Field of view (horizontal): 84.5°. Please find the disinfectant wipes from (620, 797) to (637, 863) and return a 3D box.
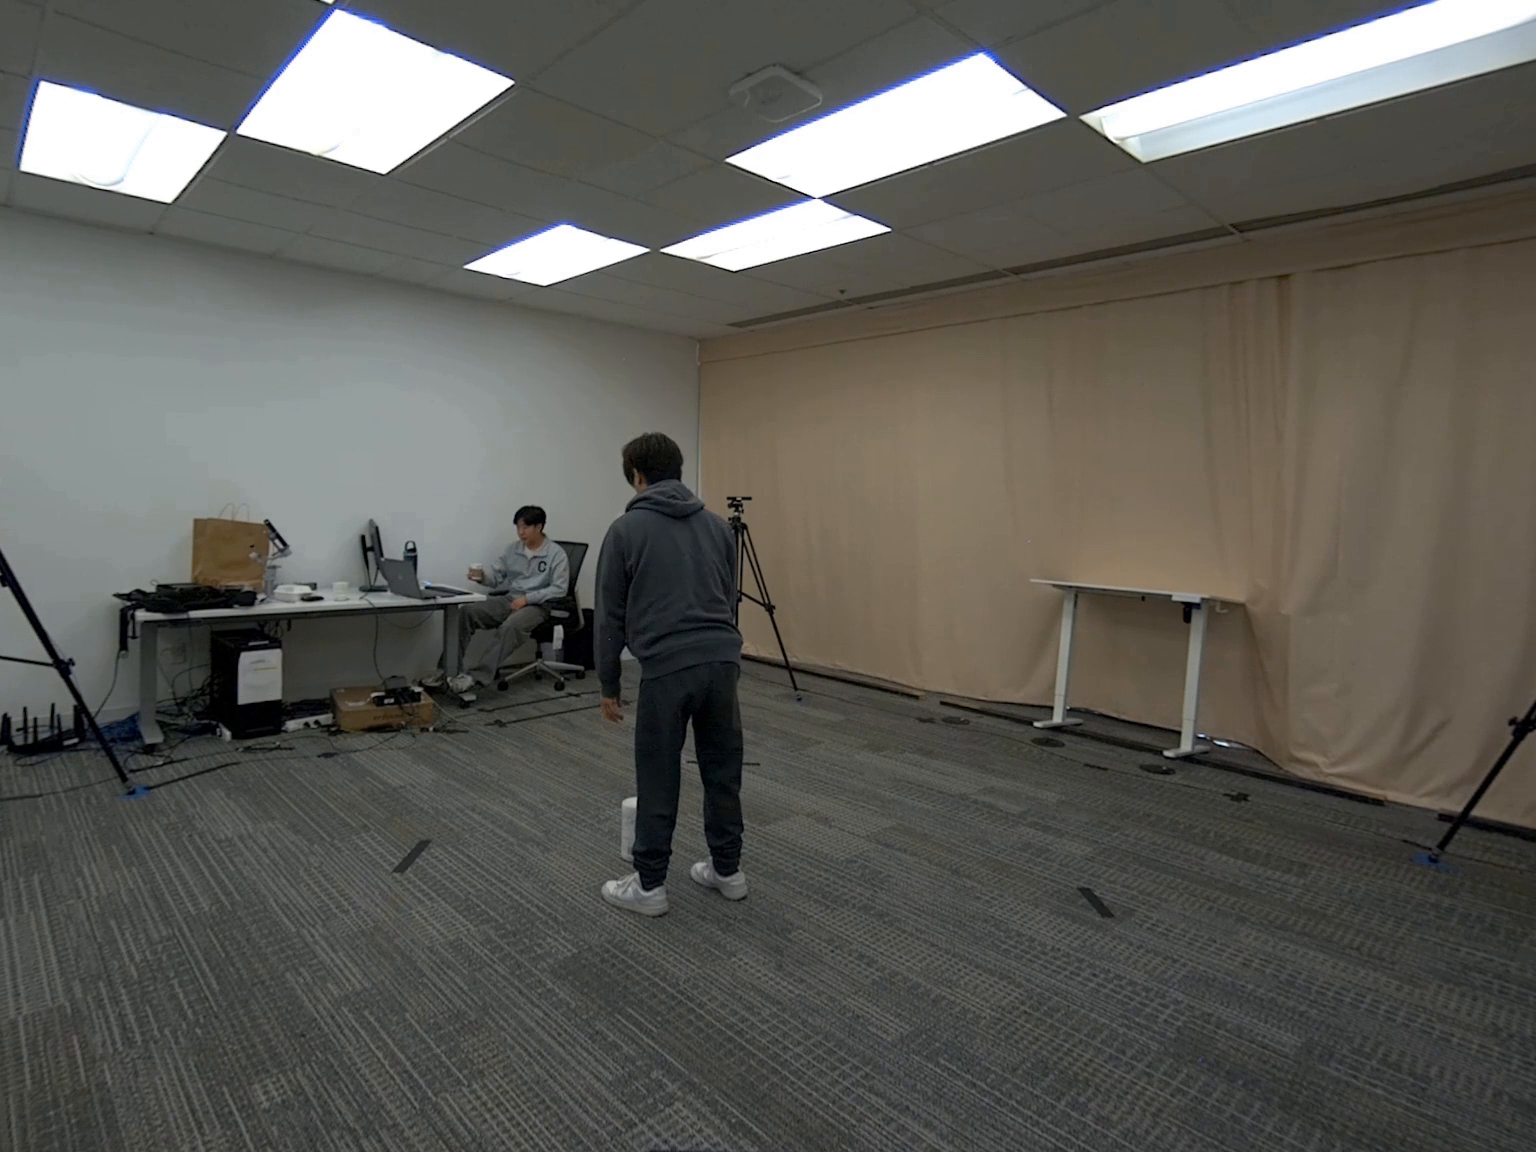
[{"bbox_3d":[-0.521,0.981,3.244,0.118,0.217,0.118,2,3,-1],"label":"disinfectant wipes"}]
